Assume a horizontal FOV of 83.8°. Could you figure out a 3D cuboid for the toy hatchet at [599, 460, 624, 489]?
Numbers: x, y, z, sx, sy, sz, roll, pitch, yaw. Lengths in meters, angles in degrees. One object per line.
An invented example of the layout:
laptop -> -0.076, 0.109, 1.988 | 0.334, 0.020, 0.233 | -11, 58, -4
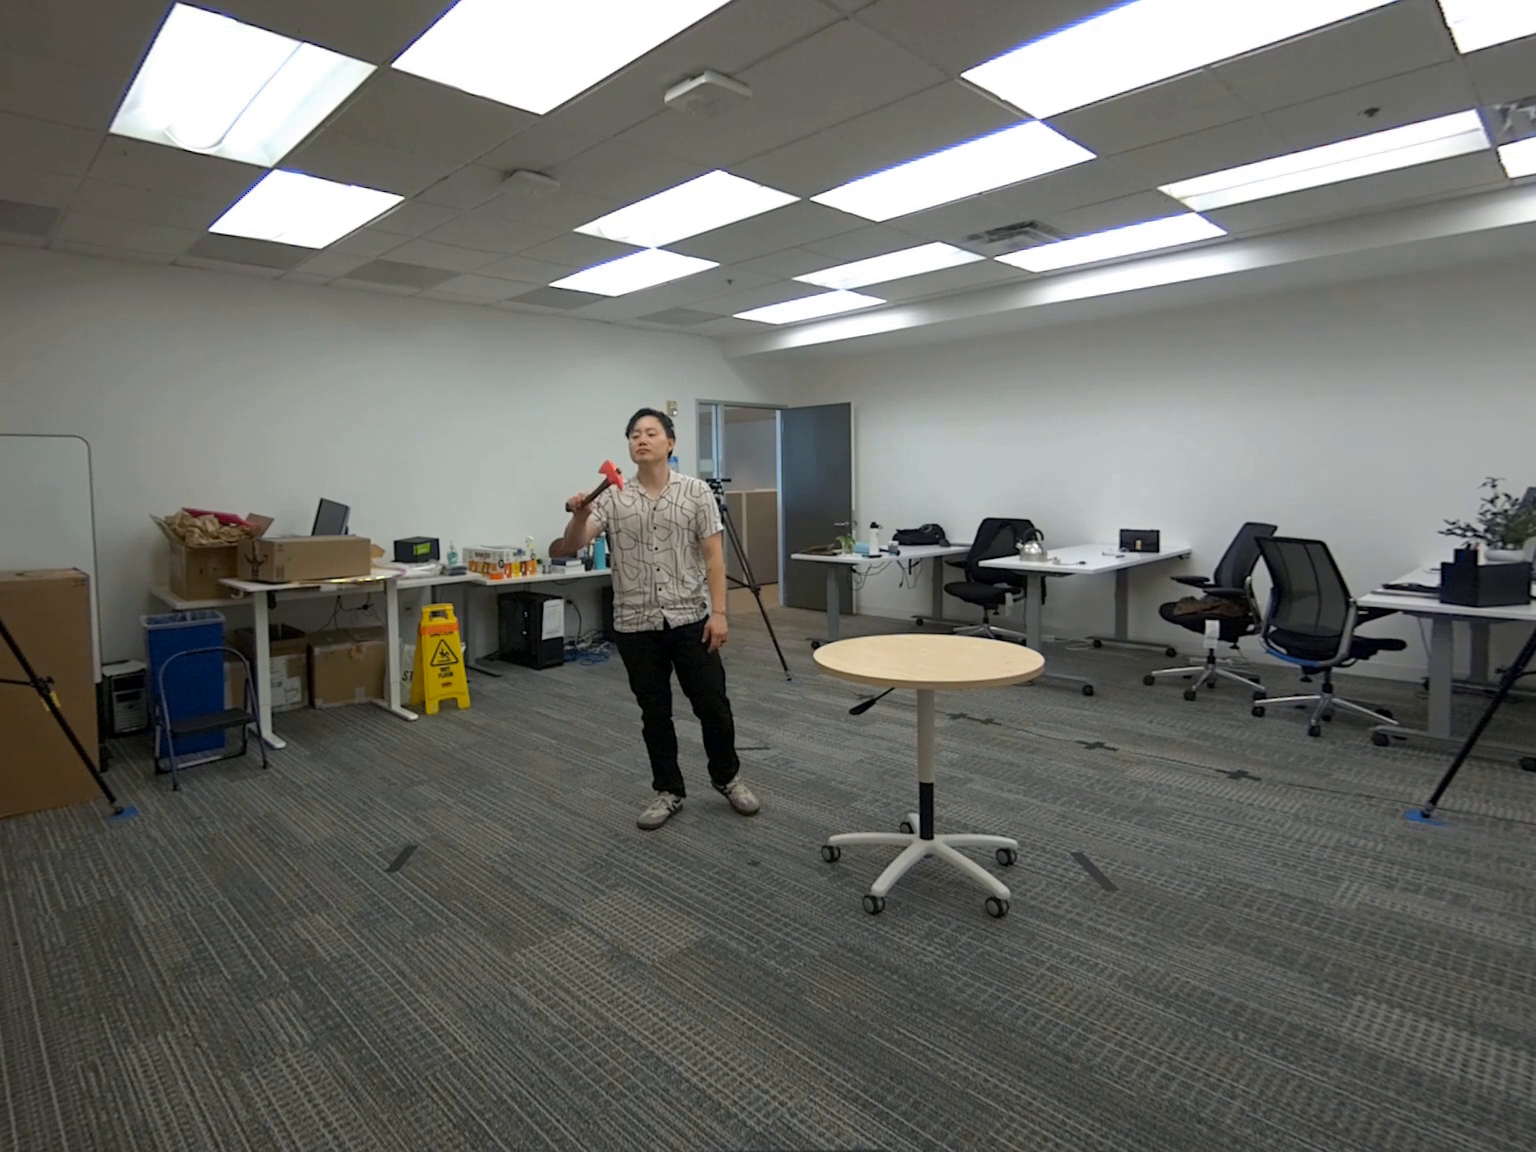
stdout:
toy hatchet -> -0.606, -0.317, 2.982 | 0.275, 0.133, 0.029 | -17, -13, 30
